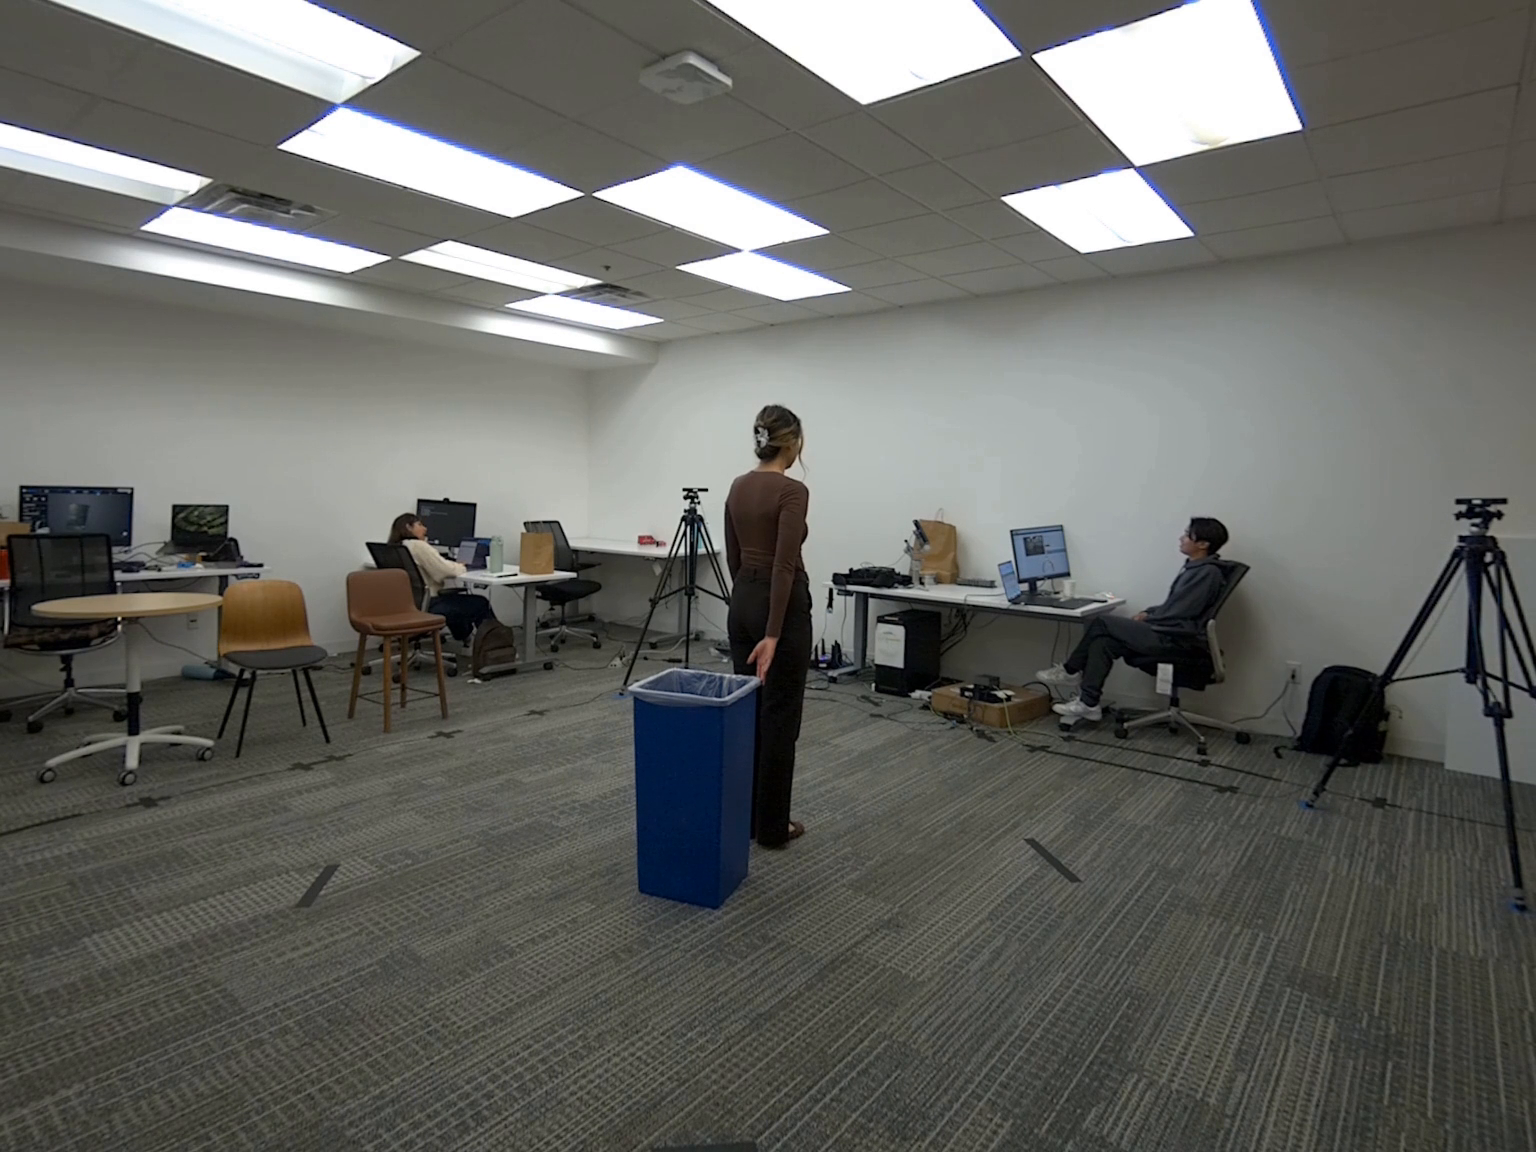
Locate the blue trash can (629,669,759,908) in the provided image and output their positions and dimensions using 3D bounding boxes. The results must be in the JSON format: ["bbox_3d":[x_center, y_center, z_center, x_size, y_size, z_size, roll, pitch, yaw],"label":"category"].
[{"bbox_3d":[-0.261,0.721,2.986,0.382,0.712,0.371,1,3,20],"label":"blue trash can"}]
